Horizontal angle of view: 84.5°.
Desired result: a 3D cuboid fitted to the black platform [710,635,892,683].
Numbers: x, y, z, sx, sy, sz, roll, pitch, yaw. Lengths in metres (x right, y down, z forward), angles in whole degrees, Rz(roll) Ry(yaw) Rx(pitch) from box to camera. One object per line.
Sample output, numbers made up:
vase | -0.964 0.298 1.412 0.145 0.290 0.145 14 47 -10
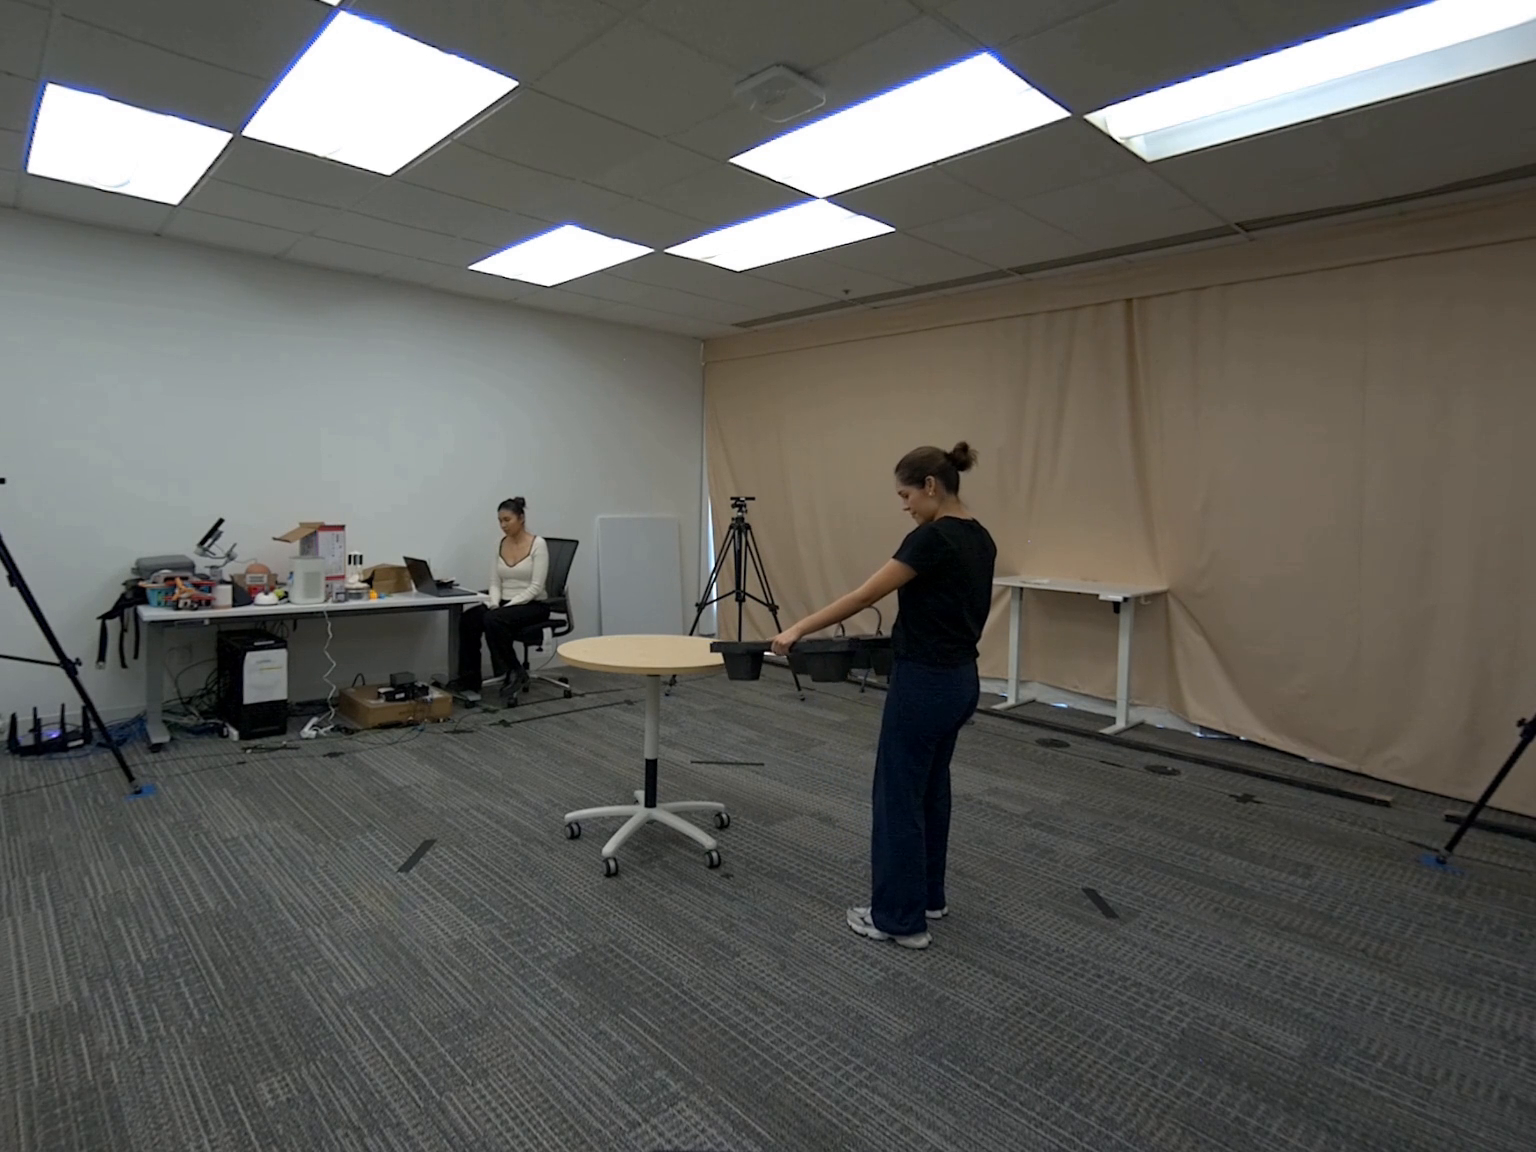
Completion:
black platform | 0.280 0.284 2.993 0.618 0.144 0.786 -5 -5 44
